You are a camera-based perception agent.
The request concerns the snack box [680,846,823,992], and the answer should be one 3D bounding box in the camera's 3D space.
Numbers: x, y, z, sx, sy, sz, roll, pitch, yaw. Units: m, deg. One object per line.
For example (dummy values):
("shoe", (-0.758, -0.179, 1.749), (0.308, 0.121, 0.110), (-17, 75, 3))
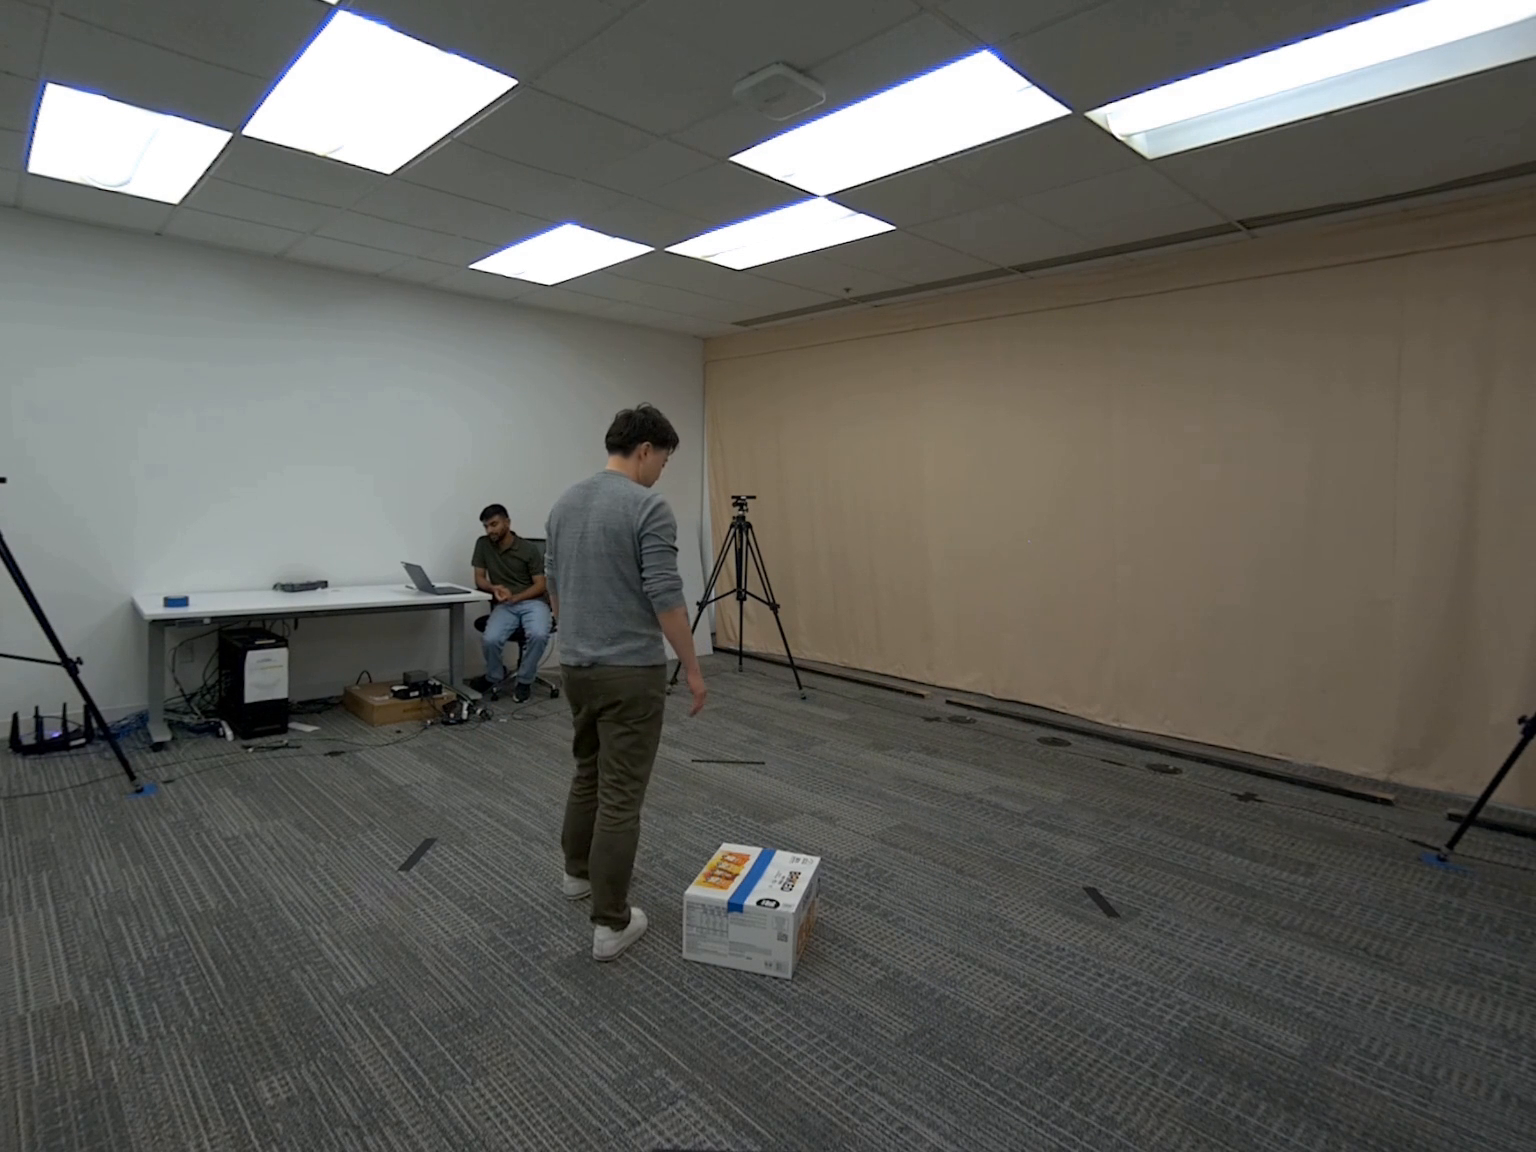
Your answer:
("snack box", (-0.041, 1.053, 2.650), (0.345, 0.205, 0.401), (4, 5, 16))
